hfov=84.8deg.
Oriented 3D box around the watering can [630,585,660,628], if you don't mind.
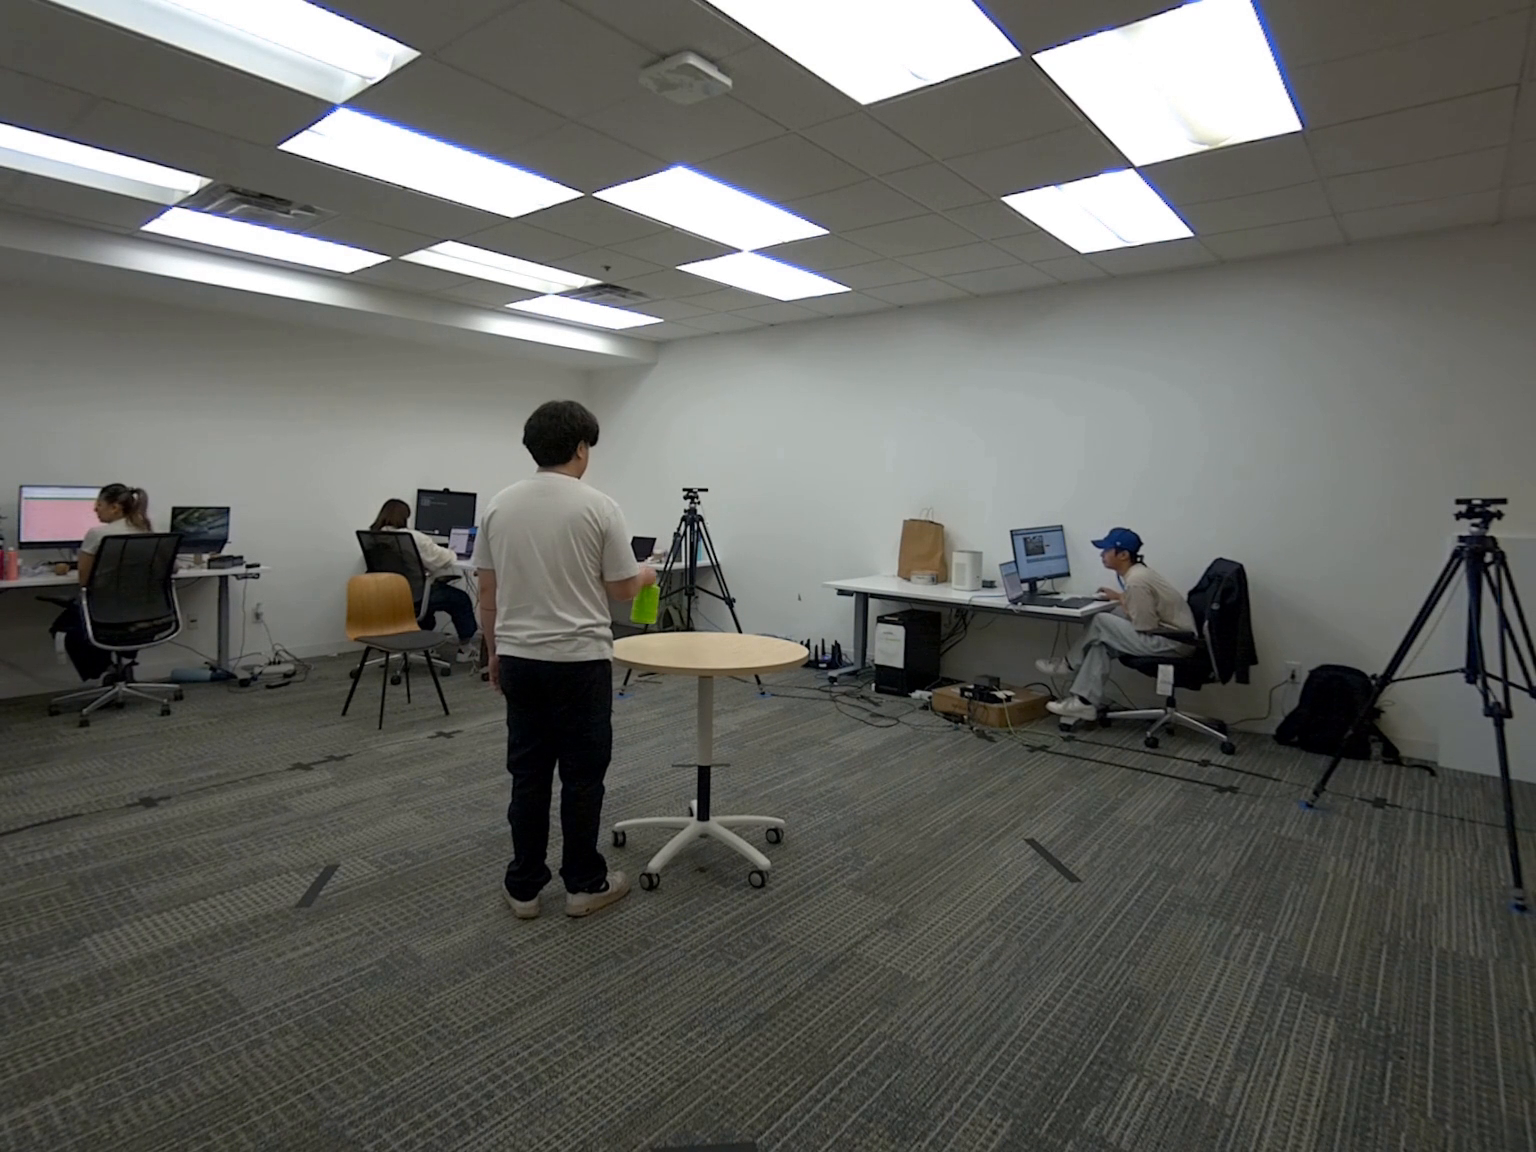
[{"bbox_3d":[-0.453,0.087,3.185,0.100,0.177,0.273,8,0,13],"label":"watering can"}]
